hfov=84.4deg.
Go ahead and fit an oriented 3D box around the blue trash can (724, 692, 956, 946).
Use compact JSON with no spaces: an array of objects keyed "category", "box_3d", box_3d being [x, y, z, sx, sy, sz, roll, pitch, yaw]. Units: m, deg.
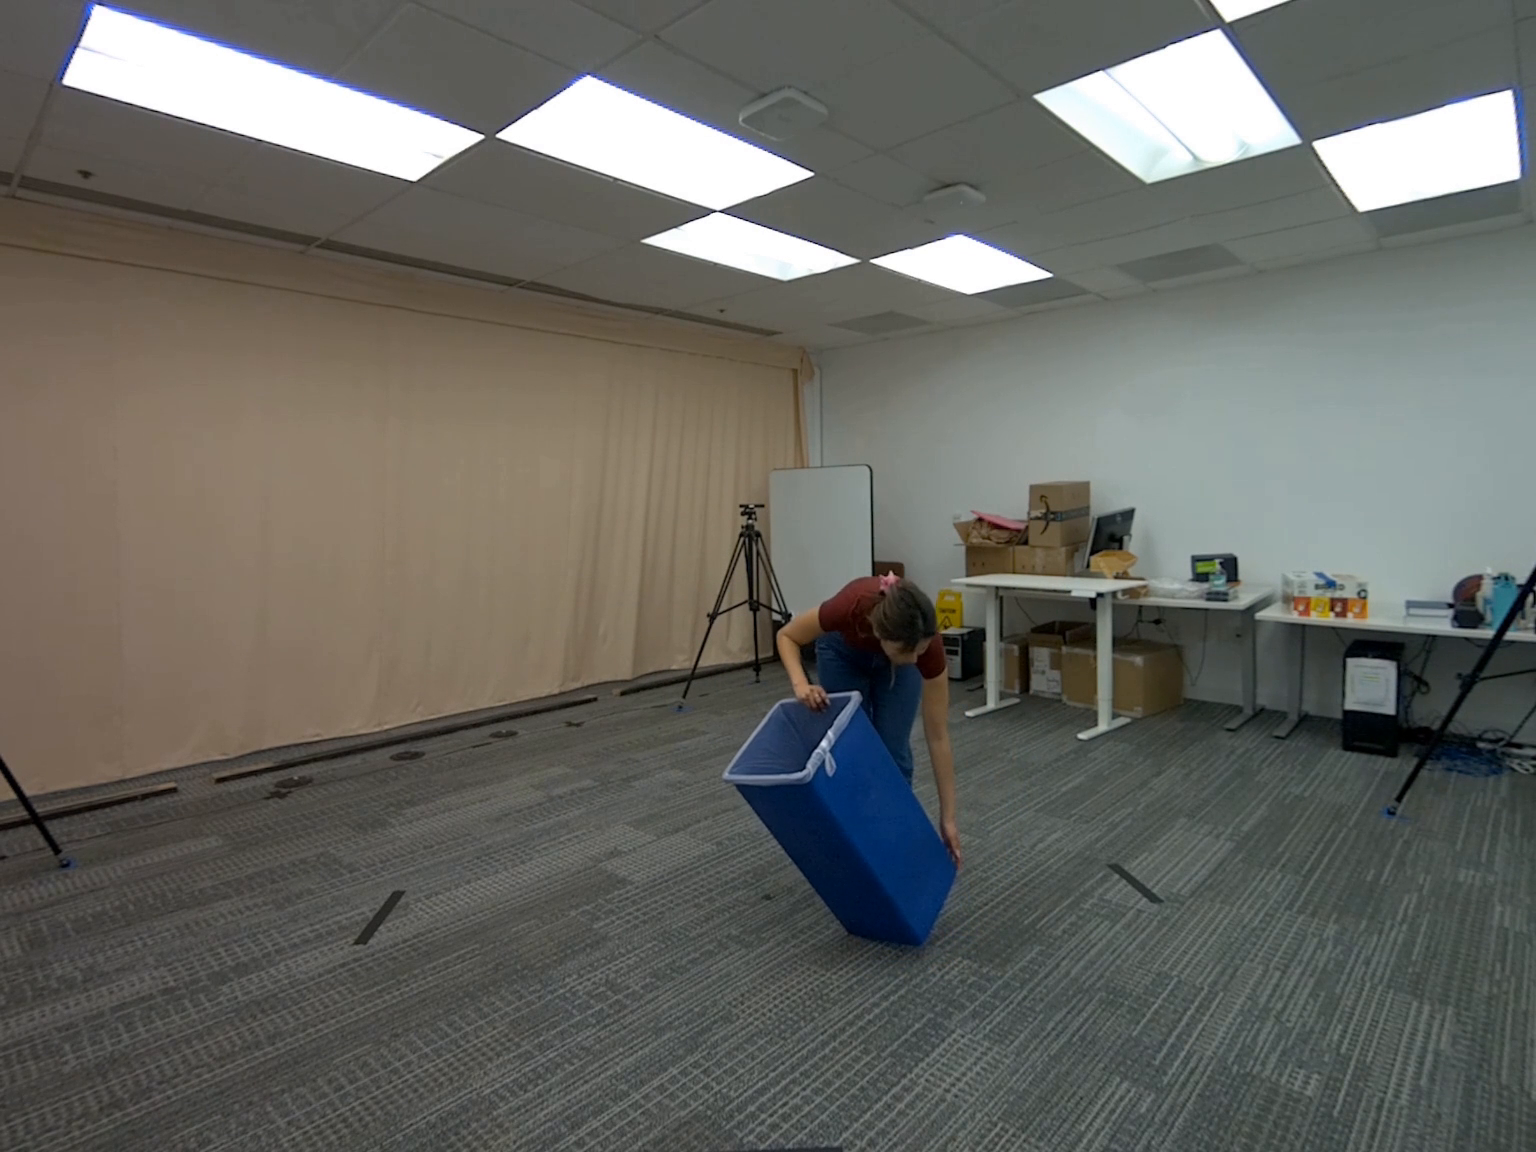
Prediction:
[{"category":"blue trash can","box_3d":[0.248,0.770,2.630,0.383,0.703,0.374,-16,21,47]}]
